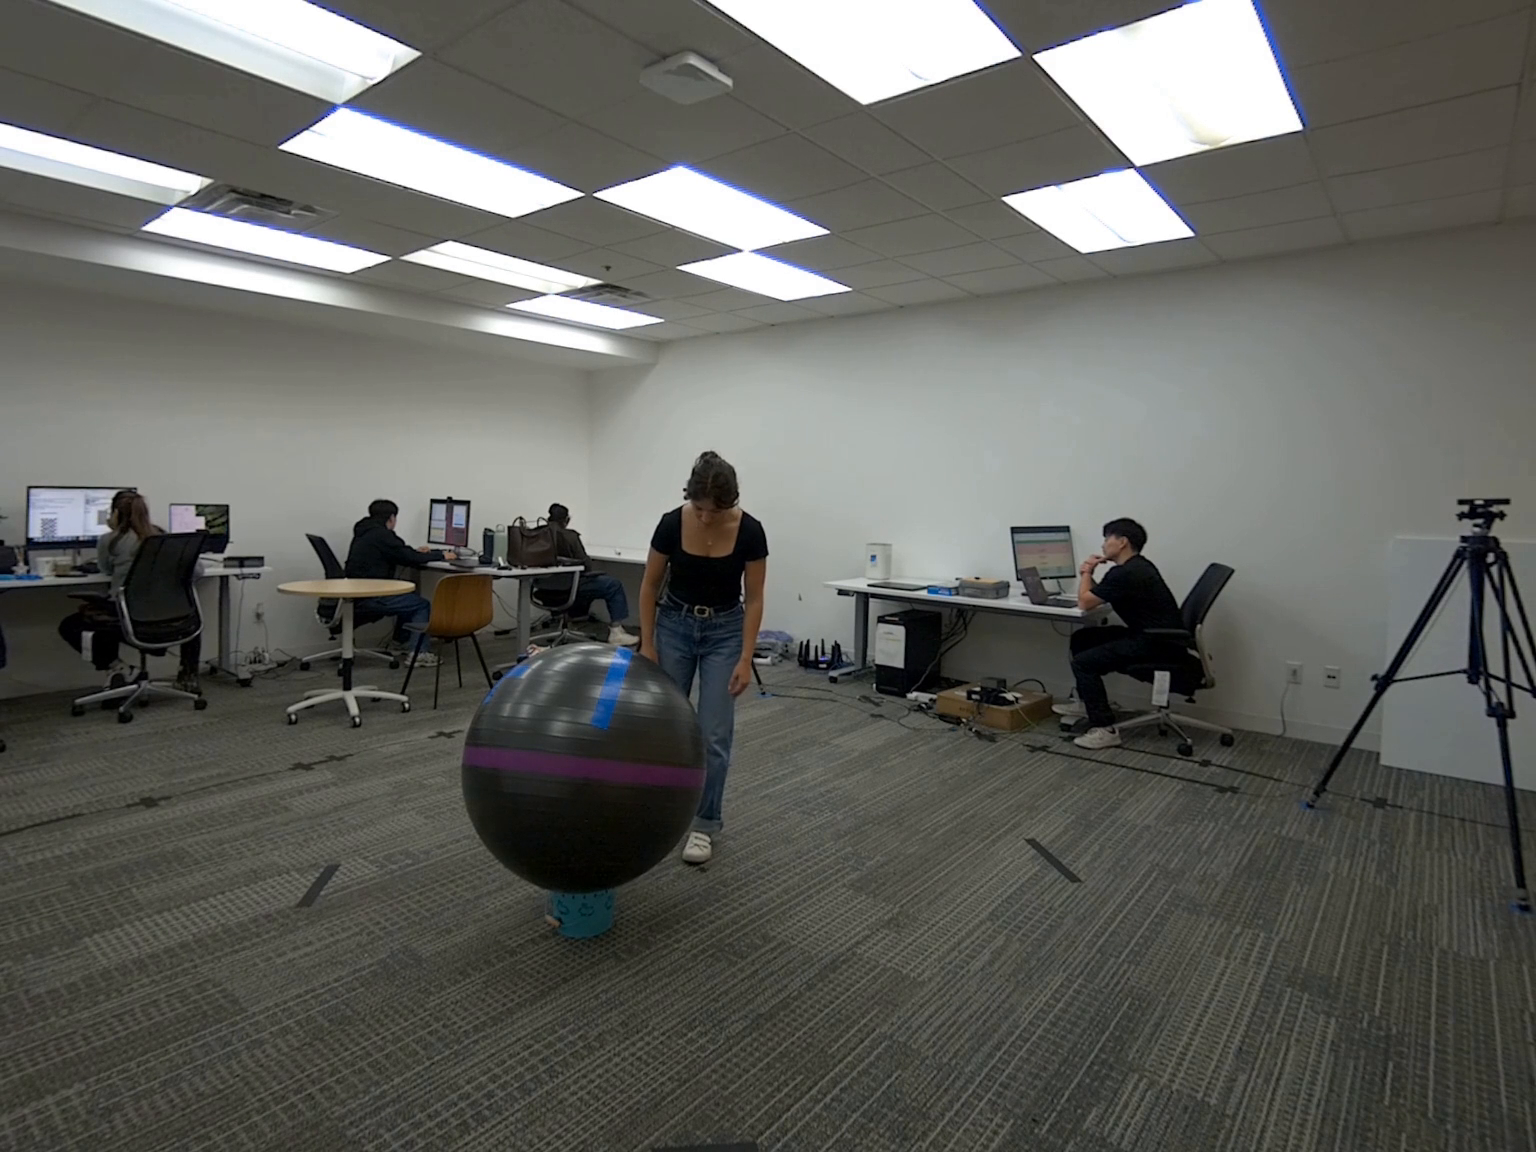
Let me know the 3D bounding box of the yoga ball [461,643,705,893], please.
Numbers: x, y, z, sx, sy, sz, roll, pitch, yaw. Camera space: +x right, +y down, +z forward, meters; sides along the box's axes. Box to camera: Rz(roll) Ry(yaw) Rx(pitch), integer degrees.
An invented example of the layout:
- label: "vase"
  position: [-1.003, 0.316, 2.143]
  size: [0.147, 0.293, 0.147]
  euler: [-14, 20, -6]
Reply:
- label: "yoga ball"
  position: [-0.590, 0.598, 2.691]
  size: [0.757, 0.756, 0.761]
  euler: [1, 4, -2]
